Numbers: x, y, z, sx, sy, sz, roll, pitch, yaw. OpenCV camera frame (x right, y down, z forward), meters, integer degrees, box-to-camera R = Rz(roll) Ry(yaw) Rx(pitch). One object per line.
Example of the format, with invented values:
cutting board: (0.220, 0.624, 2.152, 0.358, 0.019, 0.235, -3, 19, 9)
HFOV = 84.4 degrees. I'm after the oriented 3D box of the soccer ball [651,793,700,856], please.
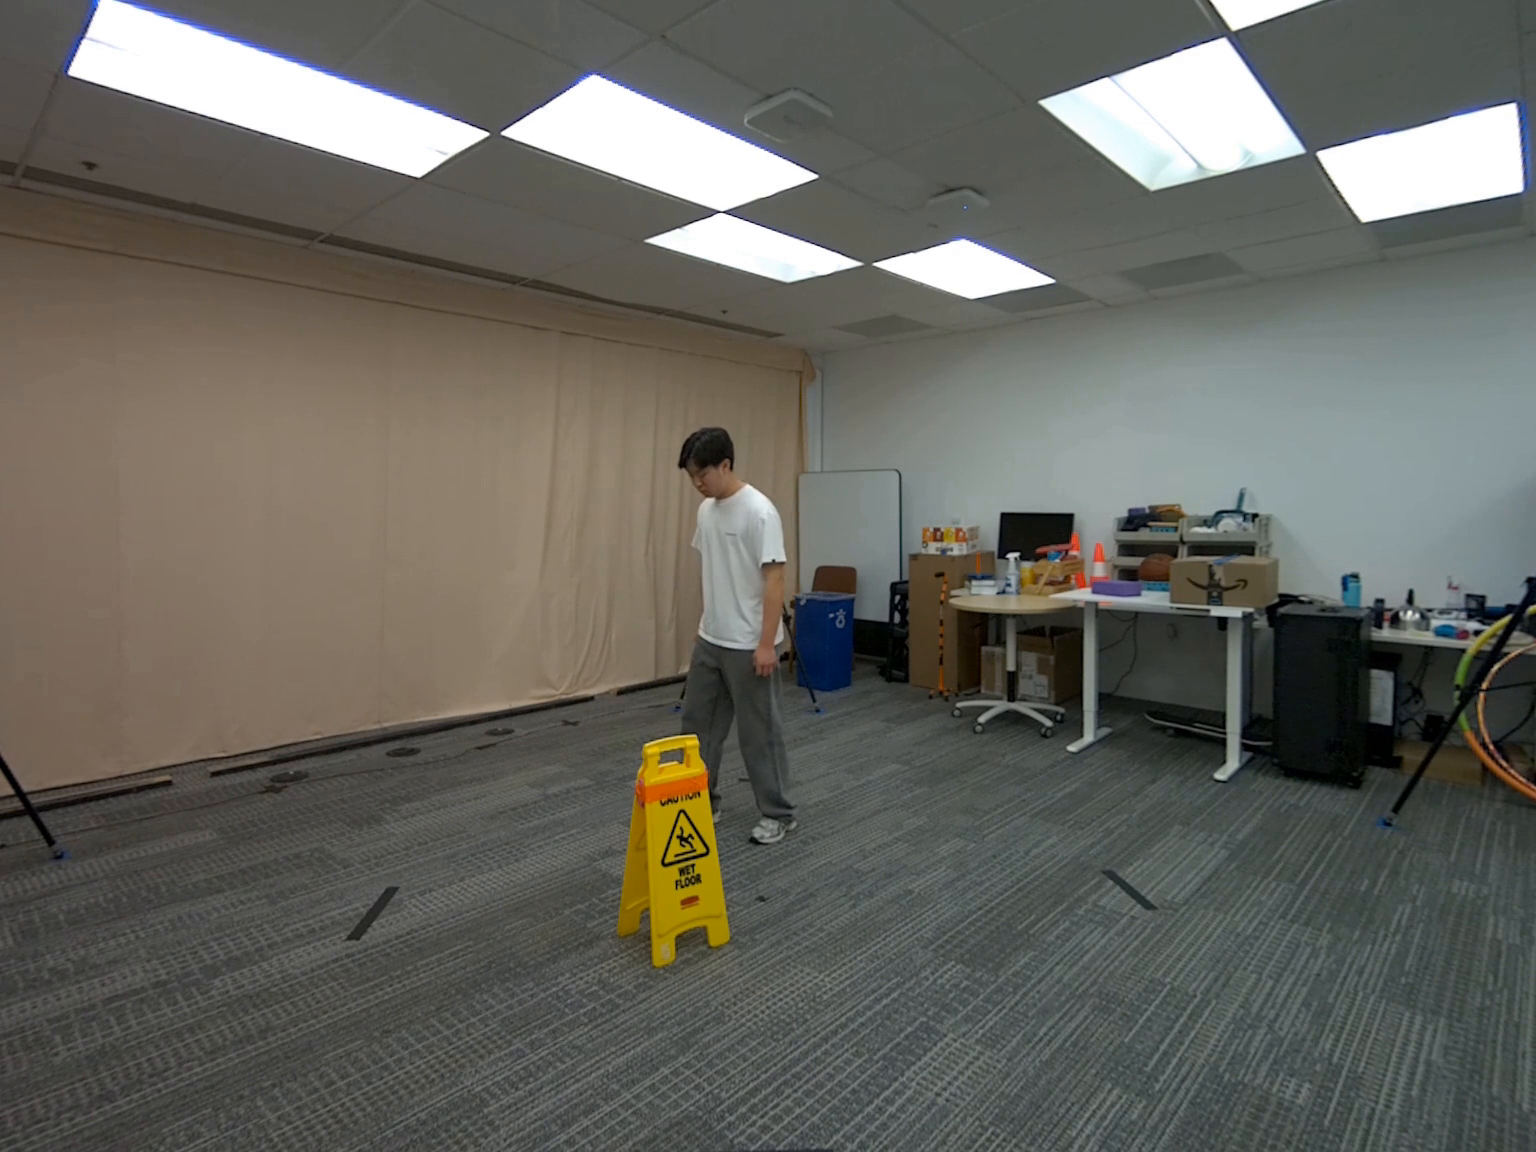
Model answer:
soccer ball: (-0.374, 1.006, 3.444, 0.187, 0.187, 0.188, 0, 4, -2)
